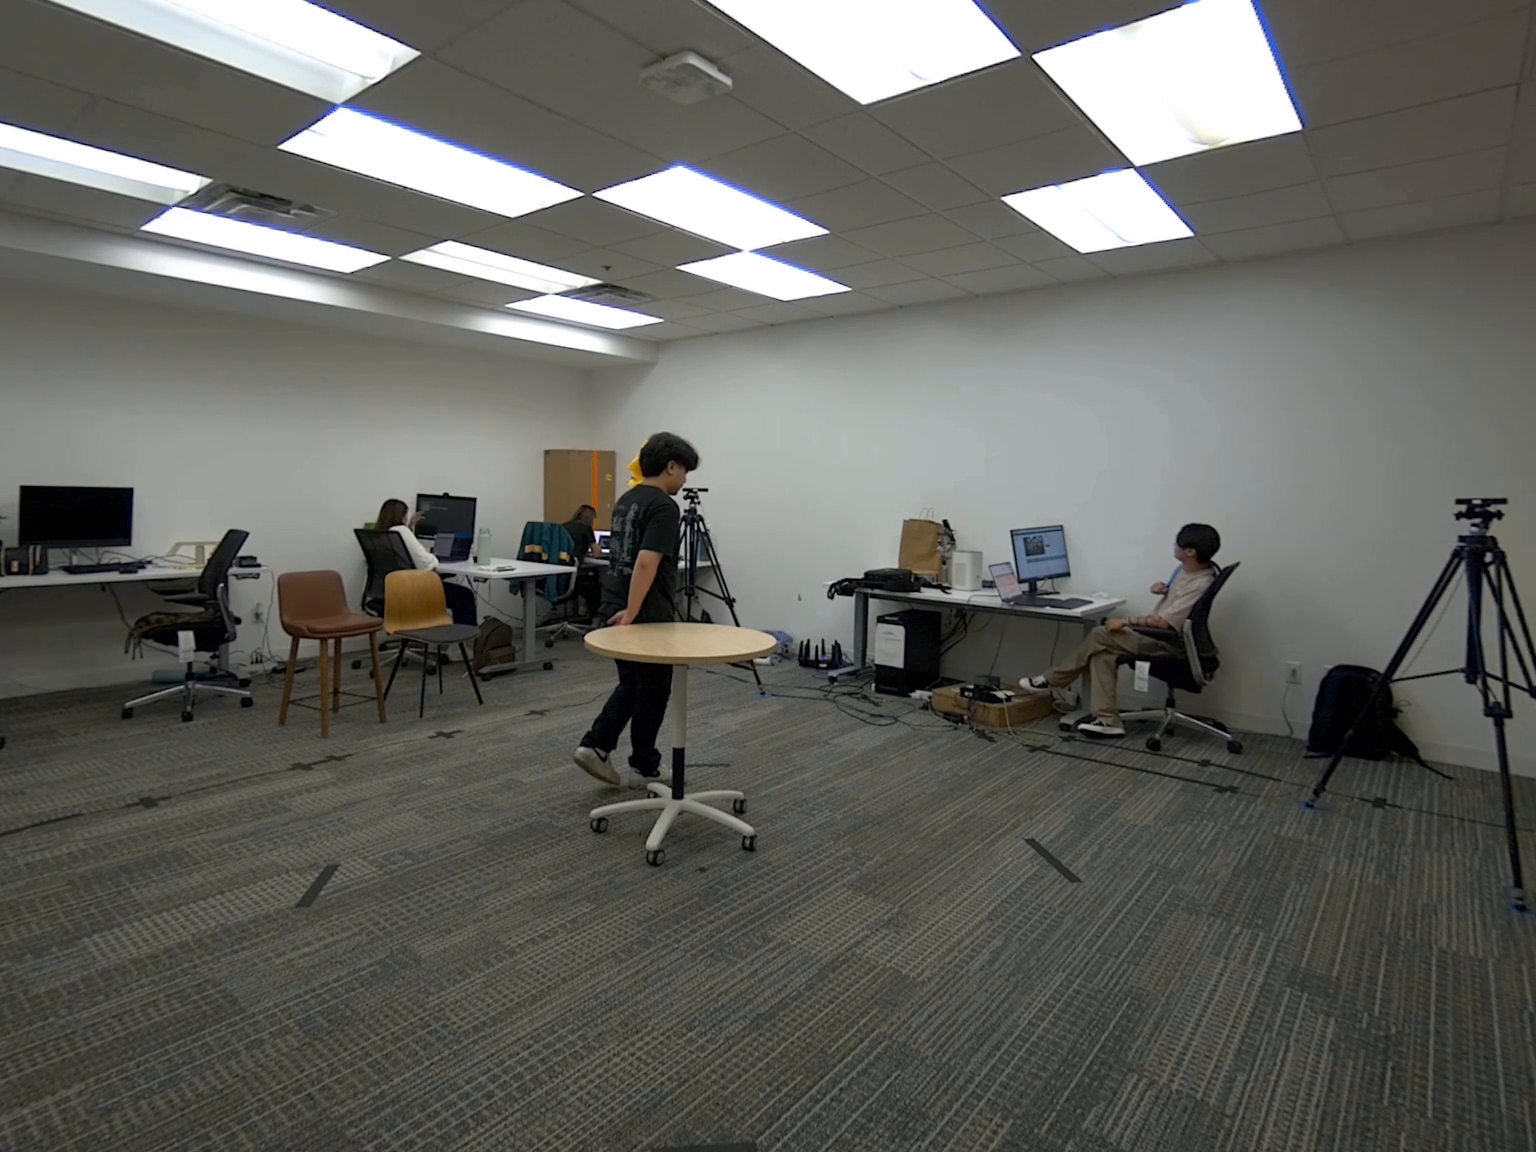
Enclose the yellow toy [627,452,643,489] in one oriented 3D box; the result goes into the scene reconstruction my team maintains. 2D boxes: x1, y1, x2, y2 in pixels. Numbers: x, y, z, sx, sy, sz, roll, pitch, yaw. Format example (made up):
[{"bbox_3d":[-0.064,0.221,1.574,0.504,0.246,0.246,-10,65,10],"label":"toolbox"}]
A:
[{"bbox_3d":[-0.571,-0.530,4.051,0.194,0.229,0.205,18,9,1],"label":"yellow toy"}]
